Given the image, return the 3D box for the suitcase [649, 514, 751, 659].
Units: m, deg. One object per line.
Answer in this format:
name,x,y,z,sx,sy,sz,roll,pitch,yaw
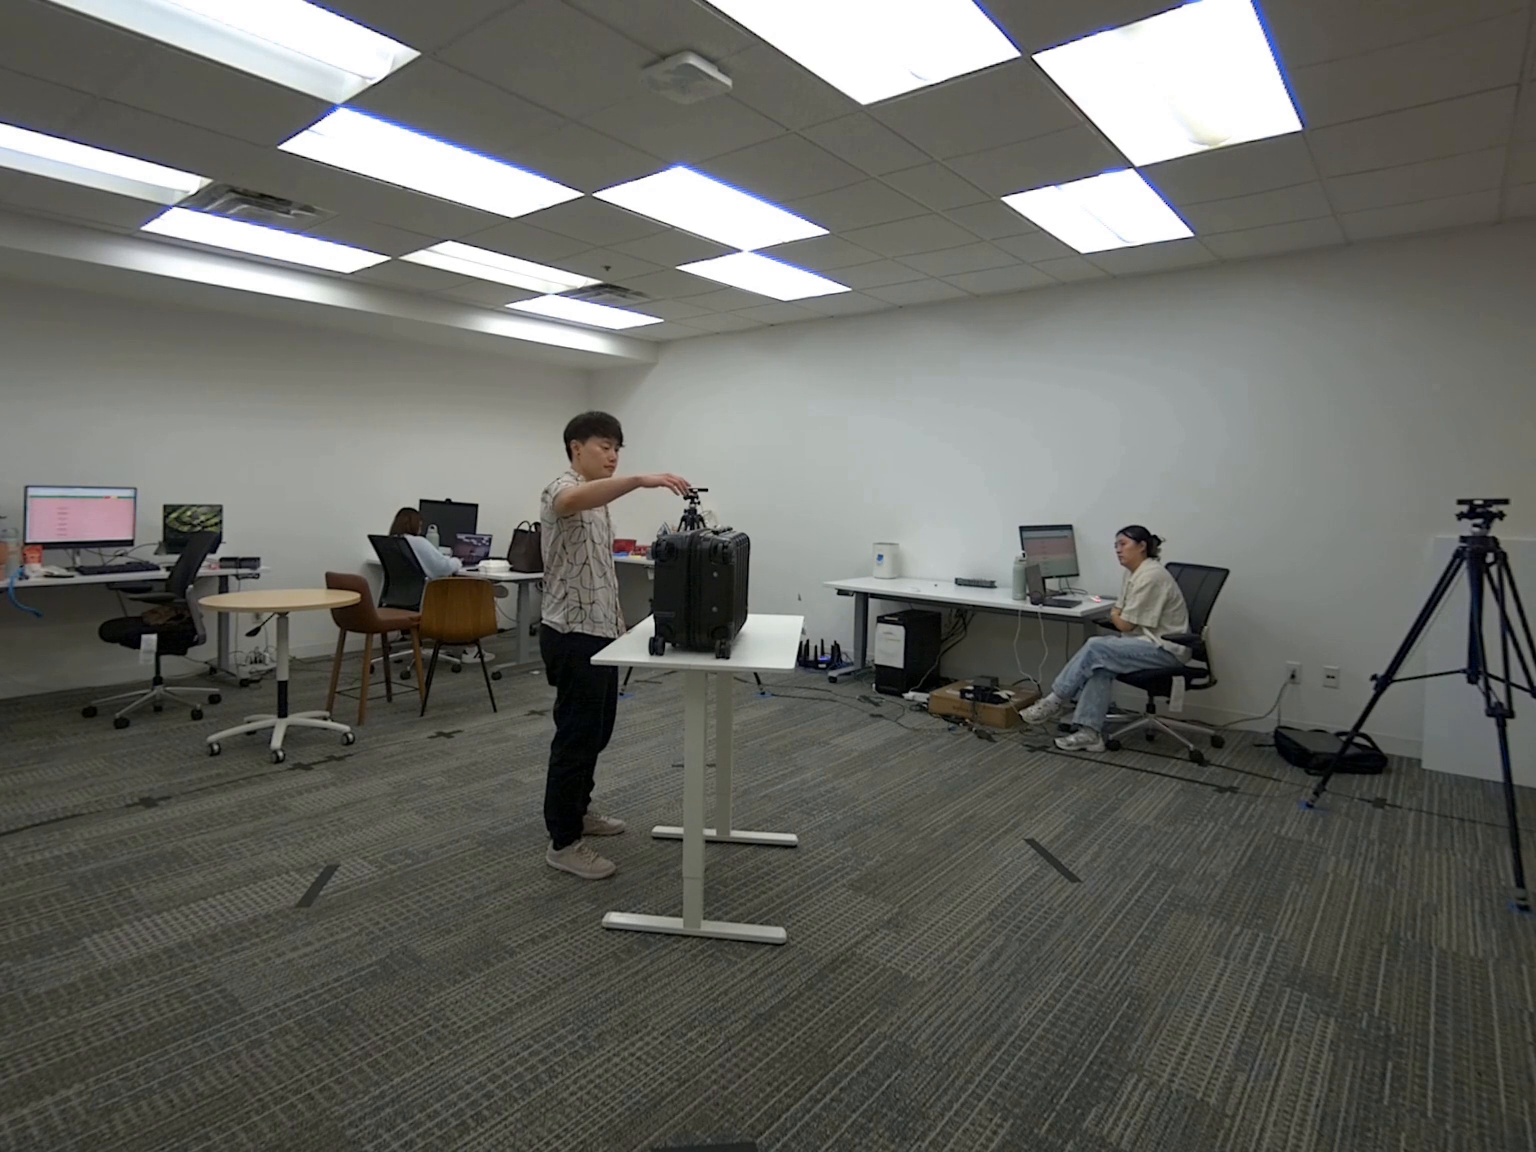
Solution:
suitcase,-0.213,0.024,2.811,0.250,0.374,0.547,1,5,6
